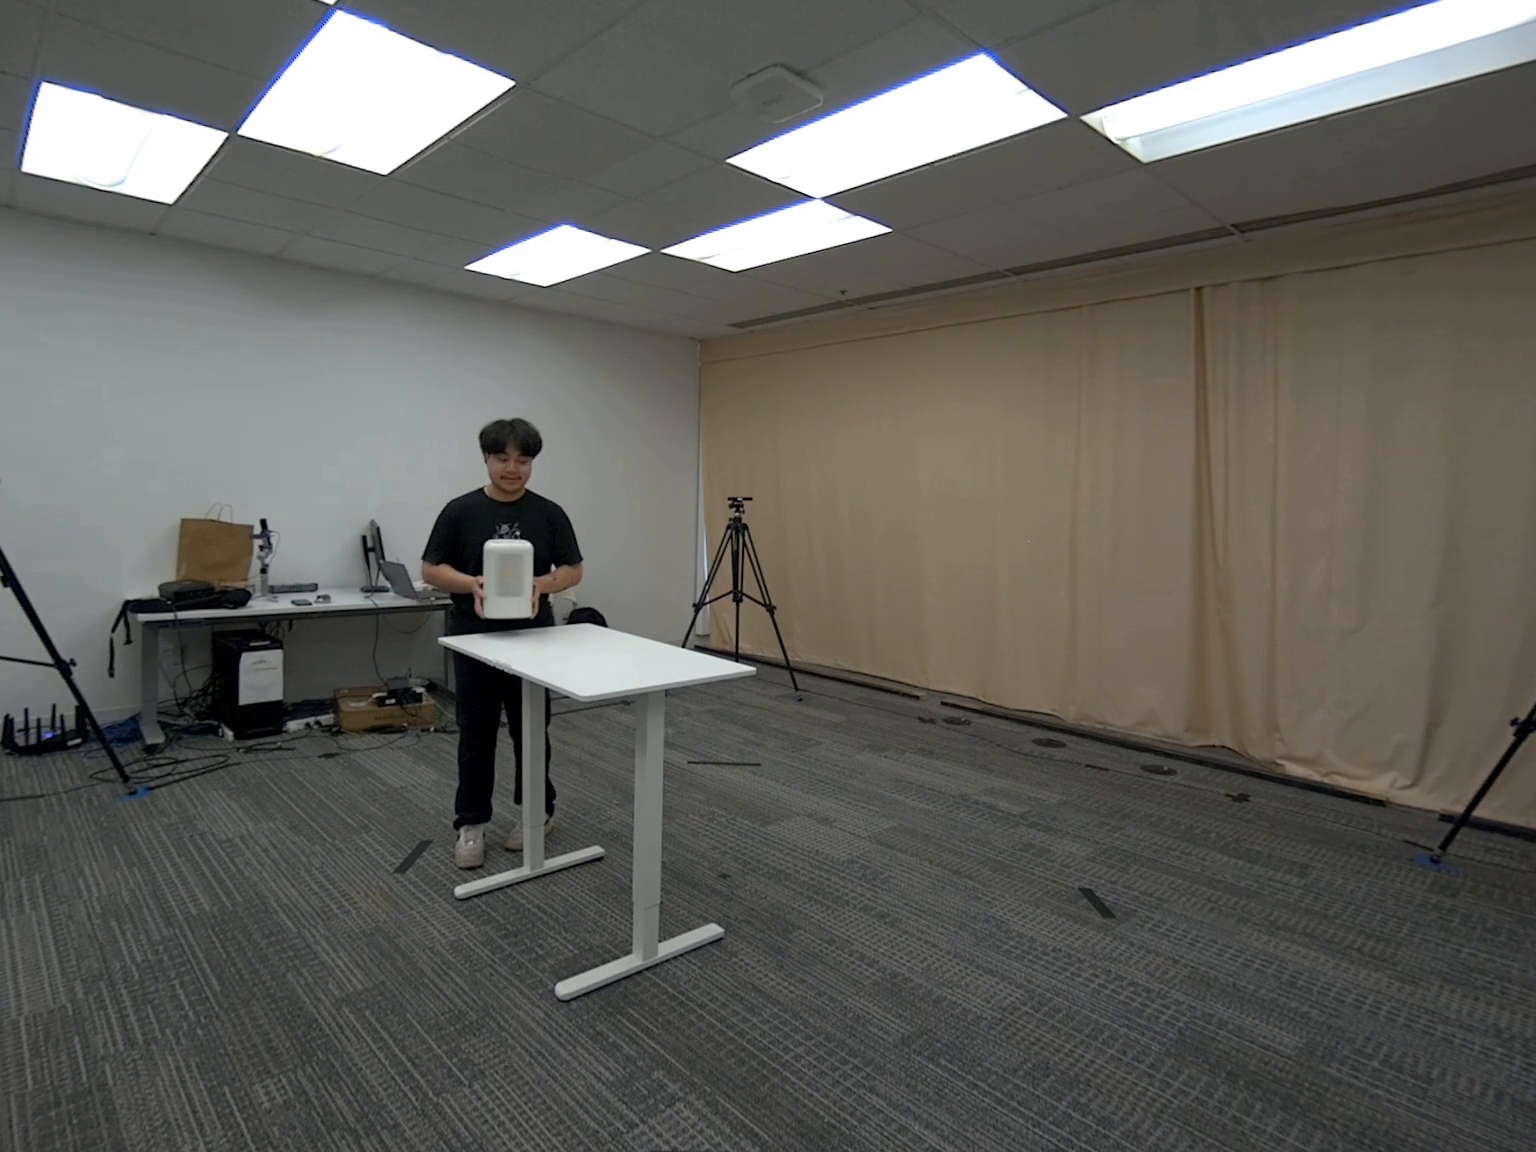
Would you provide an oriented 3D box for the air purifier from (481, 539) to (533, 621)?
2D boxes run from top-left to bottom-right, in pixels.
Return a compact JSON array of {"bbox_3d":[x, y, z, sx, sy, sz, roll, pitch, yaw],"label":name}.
[{"bbox_3d":[-0.963,0.006,3.006,0.169,0.264,0.174,2,7,-18],"label":"air purifier"}]
